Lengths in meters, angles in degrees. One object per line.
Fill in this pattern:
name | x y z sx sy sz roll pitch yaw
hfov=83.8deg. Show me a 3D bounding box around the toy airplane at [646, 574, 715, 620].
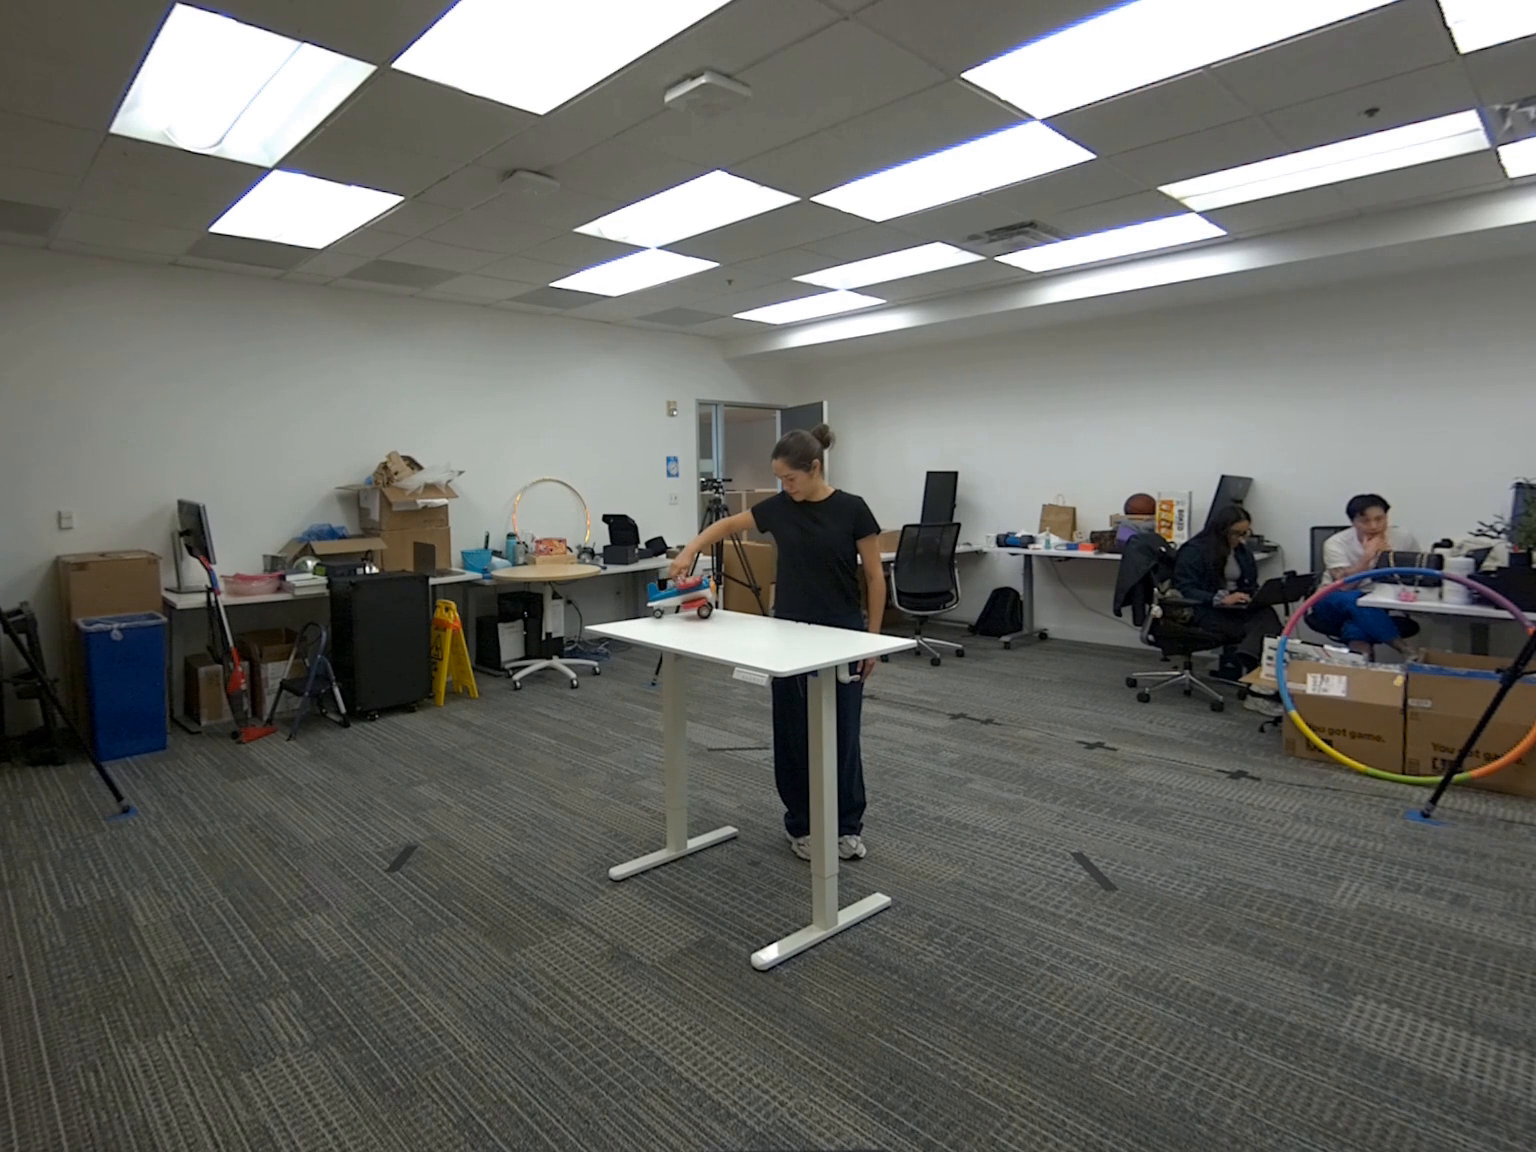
toy airplane | -0.307 0.078 3.207 0.253 0.156 0.257 -3 4 -27
